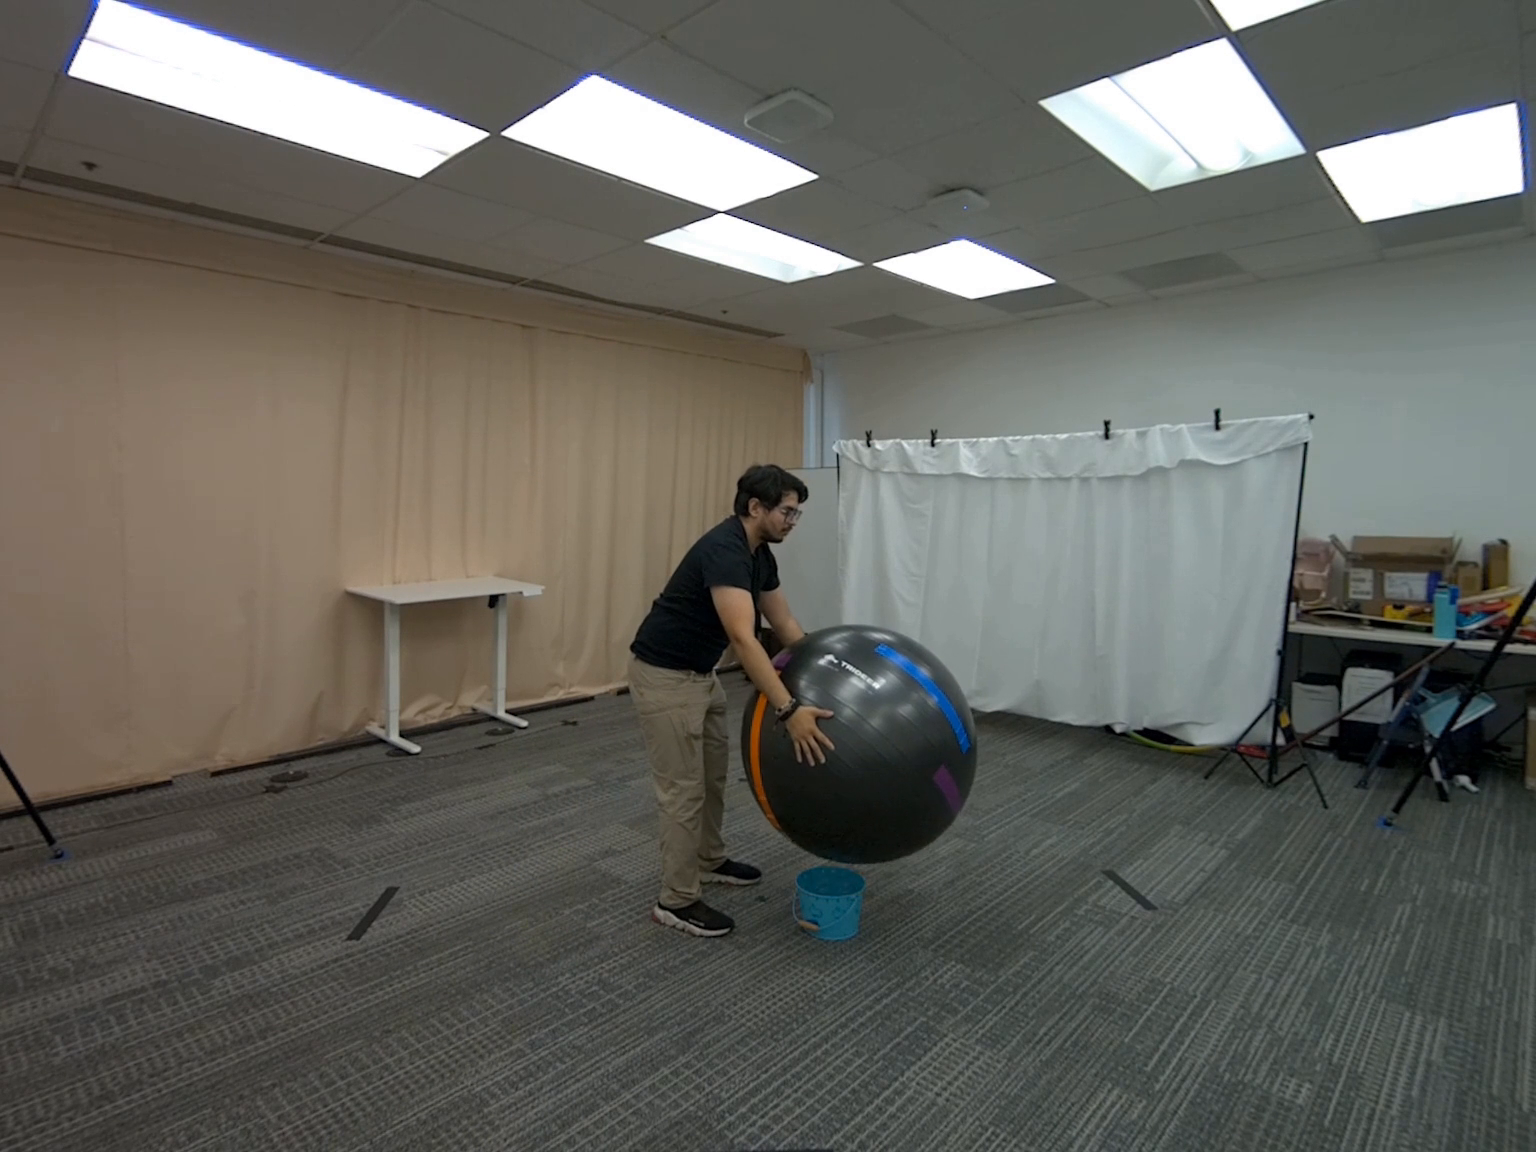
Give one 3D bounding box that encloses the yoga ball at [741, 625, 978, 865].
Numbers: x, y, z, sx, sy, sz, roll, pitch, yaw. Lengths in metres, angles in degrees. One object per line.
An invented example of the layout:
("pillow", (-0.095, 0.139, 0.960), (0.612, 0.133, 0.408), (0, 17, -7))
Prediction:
("yoga ball", (0.292, 0.550, 2.756), (0.757, 0.756, 0.761), (0, 4, -2))
